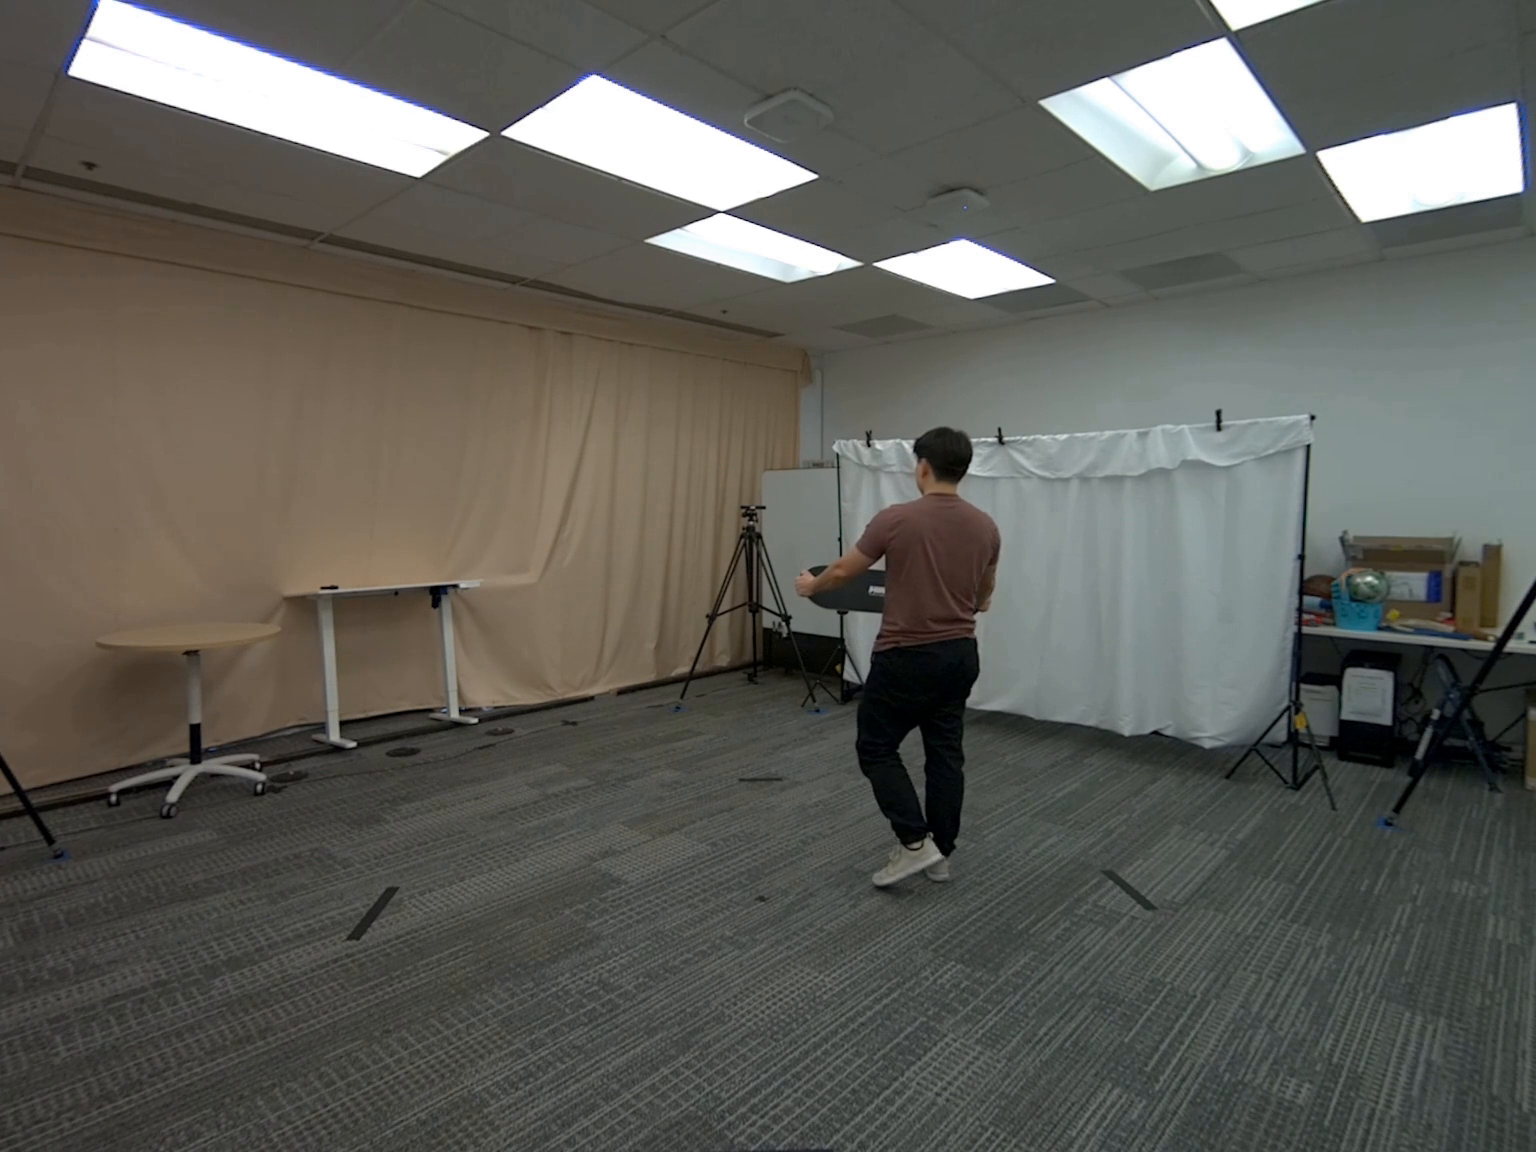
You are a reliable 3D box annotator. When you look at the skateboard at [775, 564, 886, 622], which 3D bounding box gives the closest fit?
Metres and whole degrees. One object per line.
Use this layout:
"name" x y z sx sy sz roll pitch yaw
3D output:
"skateboard" 0.422 0.083 3.555 0.772 0.195 0.111 4 -17 -15
